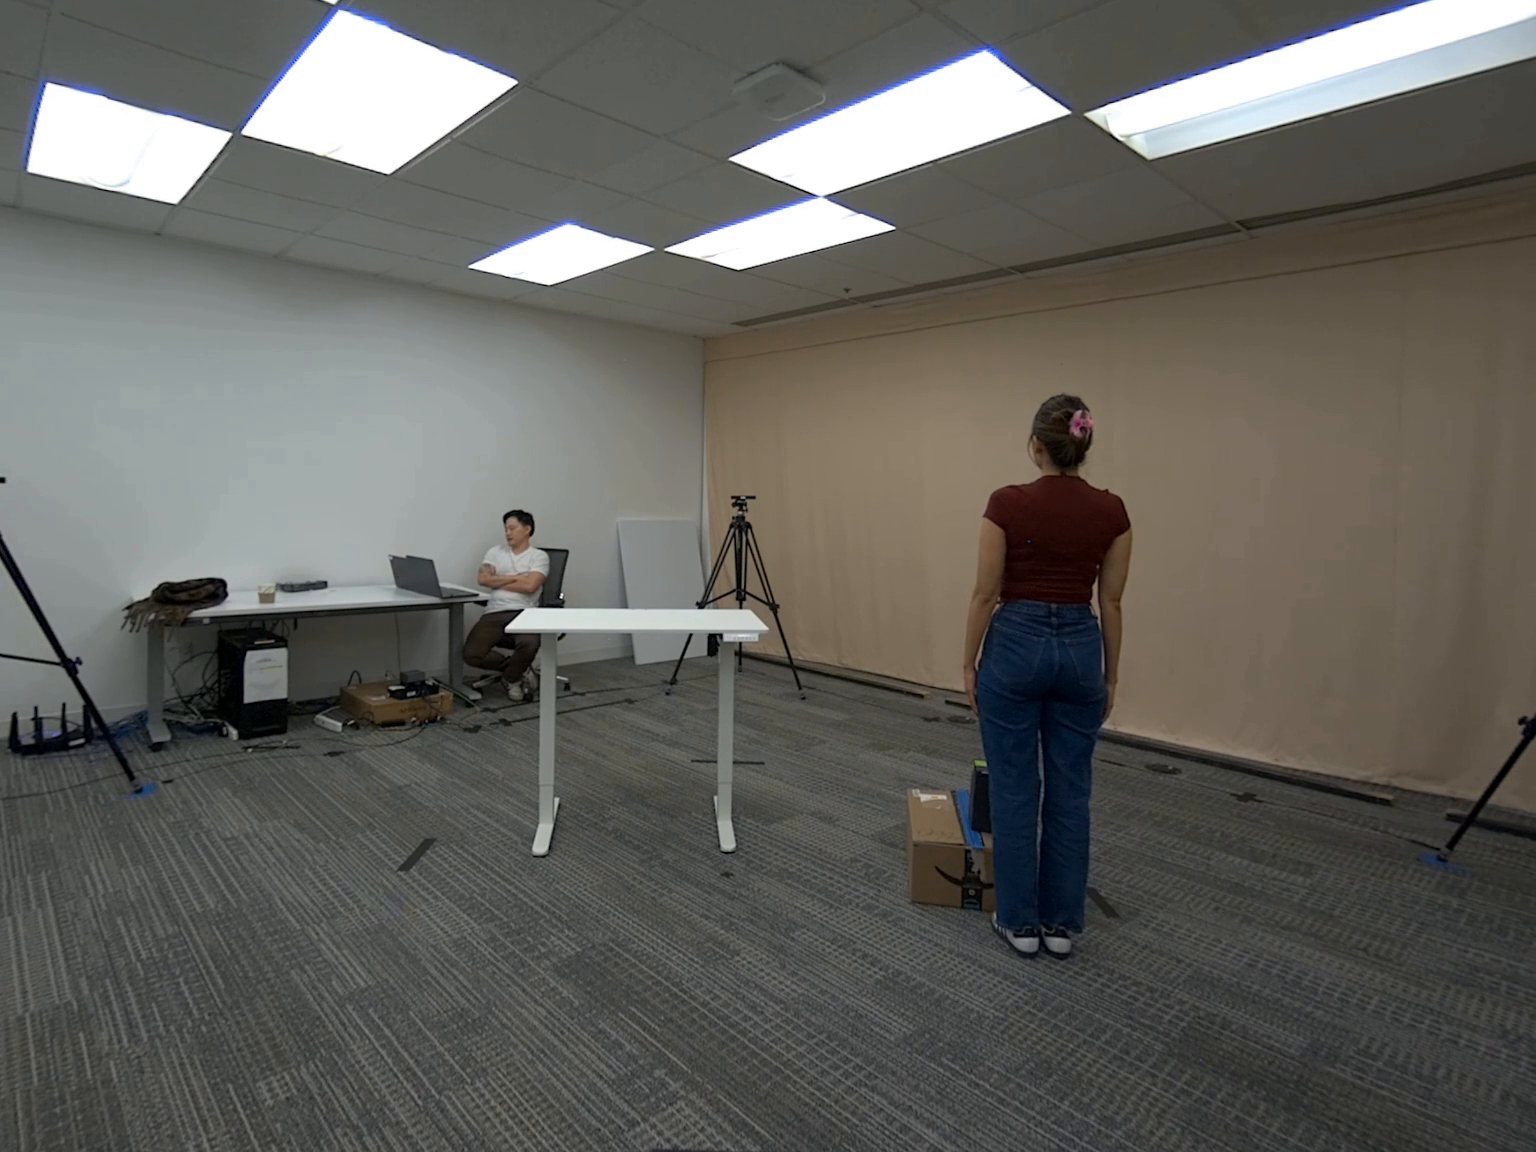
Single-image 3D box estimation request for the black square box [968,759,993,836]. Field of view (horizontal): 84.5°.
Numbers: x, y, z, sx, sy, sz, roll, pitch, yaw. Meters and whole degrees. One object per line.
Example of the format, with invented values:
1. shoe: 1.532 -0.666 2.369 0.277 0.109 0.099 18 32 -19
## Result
1. black square box: 0.854 0.805 3.053 0.230 0.216 0.154 6 4 12
